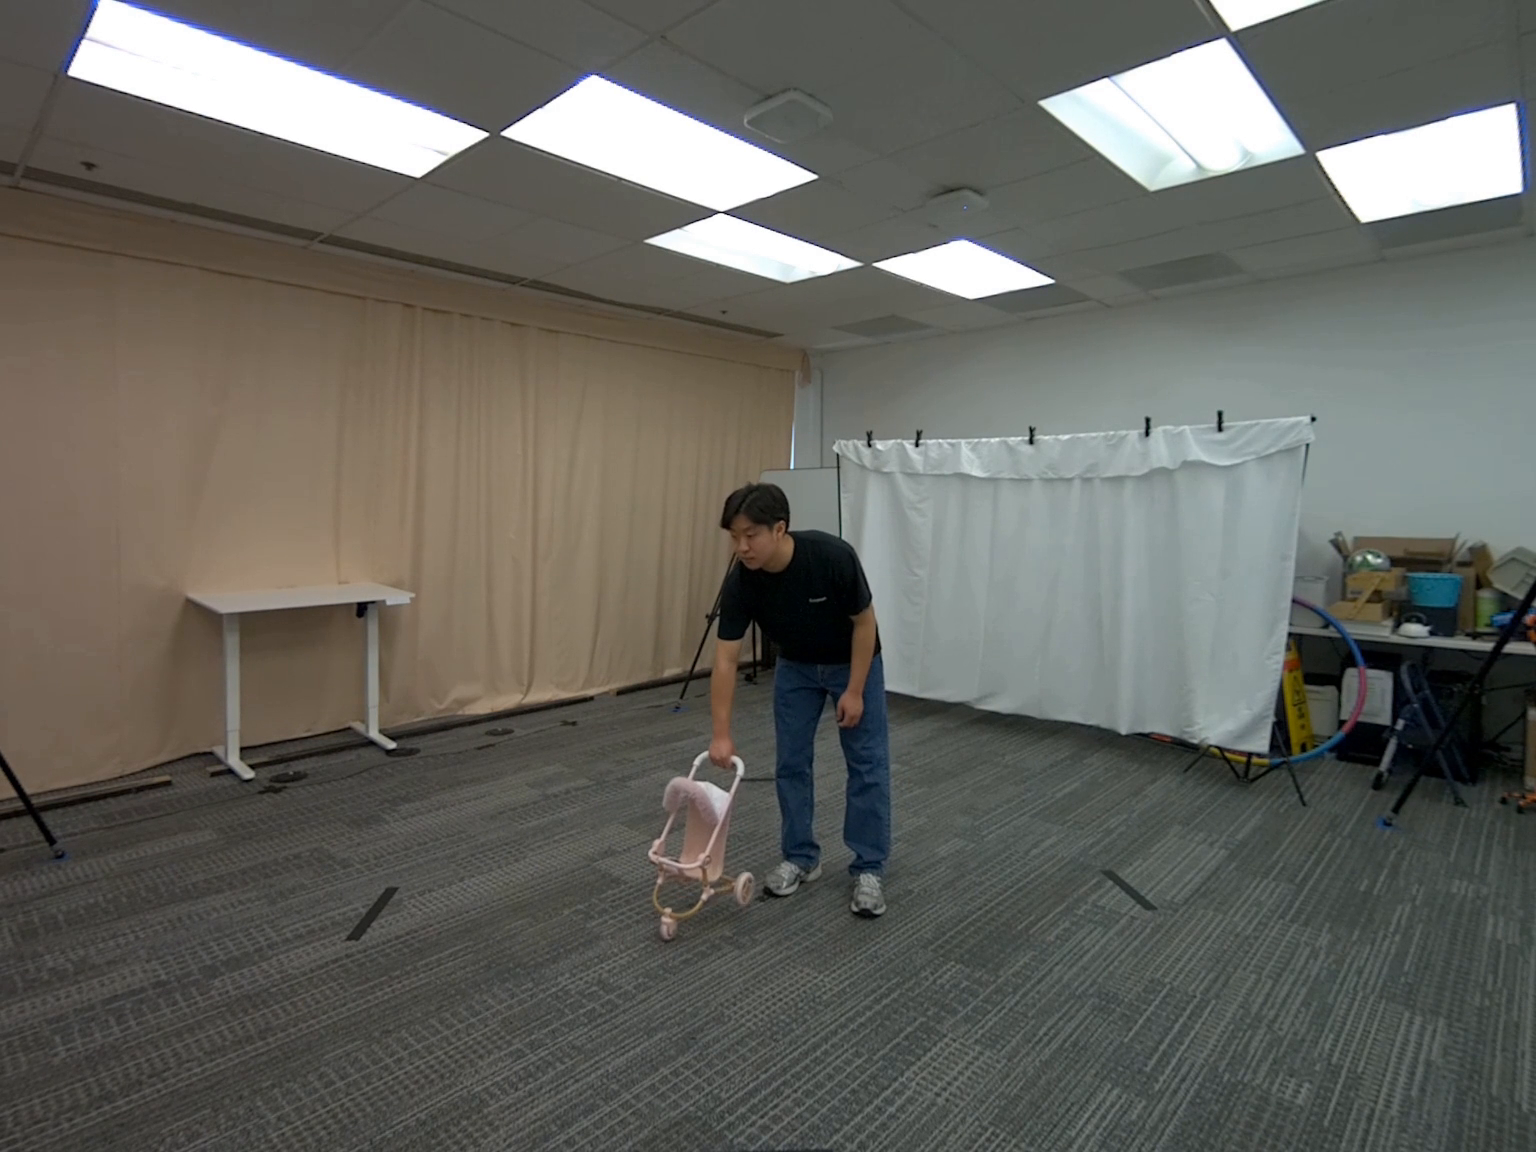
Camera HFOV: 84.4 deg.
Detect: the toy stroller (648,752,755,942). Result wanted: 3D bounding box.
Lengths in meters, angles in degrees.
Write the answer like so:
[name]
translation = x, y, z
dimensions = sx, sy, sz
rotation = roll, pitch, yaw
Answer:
[toy stroller]
translation = -0.240, 0.891, 2.798
dimensions = 0.291, 0.534, 0.331
rotation = 5, 5, 39
